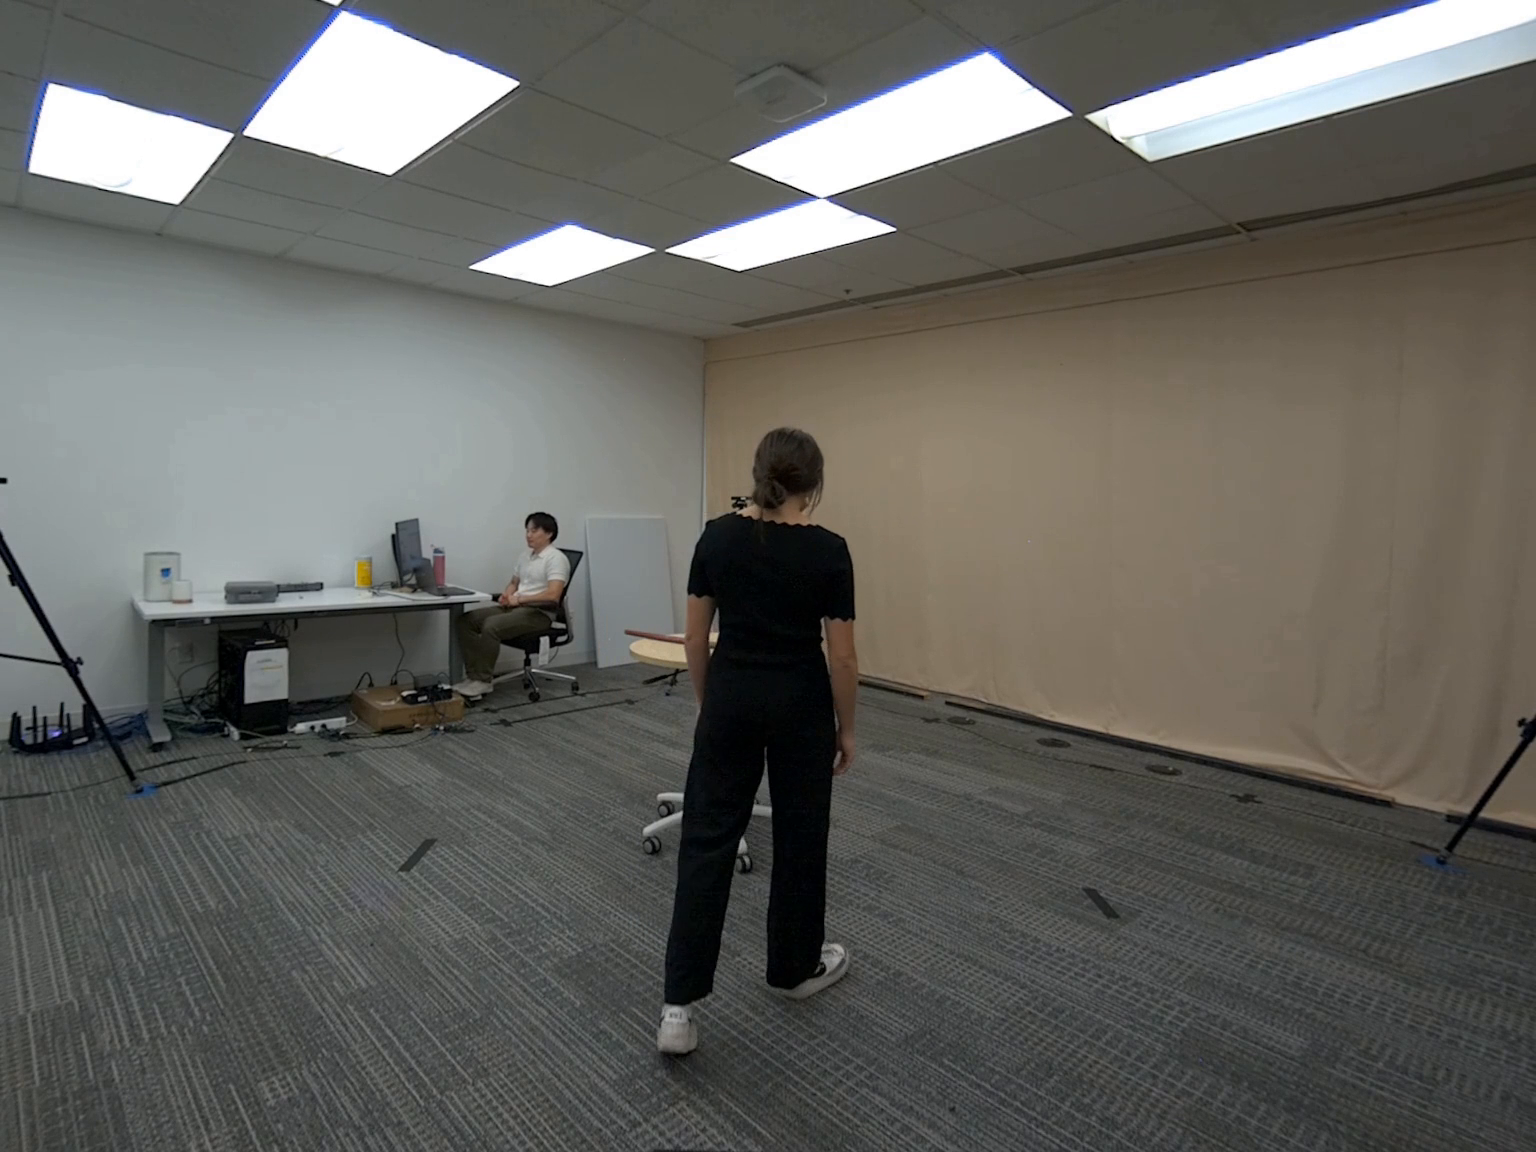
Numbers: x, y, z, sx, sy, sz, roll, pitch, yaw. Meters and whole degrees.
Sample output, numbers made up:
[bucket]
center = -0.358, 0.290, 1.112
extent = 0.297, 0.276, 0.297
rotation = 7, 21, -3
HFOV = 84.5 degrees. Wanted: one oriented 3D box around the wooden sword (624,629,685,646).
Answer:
[wooden sword]
center = -0.228, 0.285, 3.387
extent = 1.050, 0.024, 0.050
rotation = 4, -11, 38
